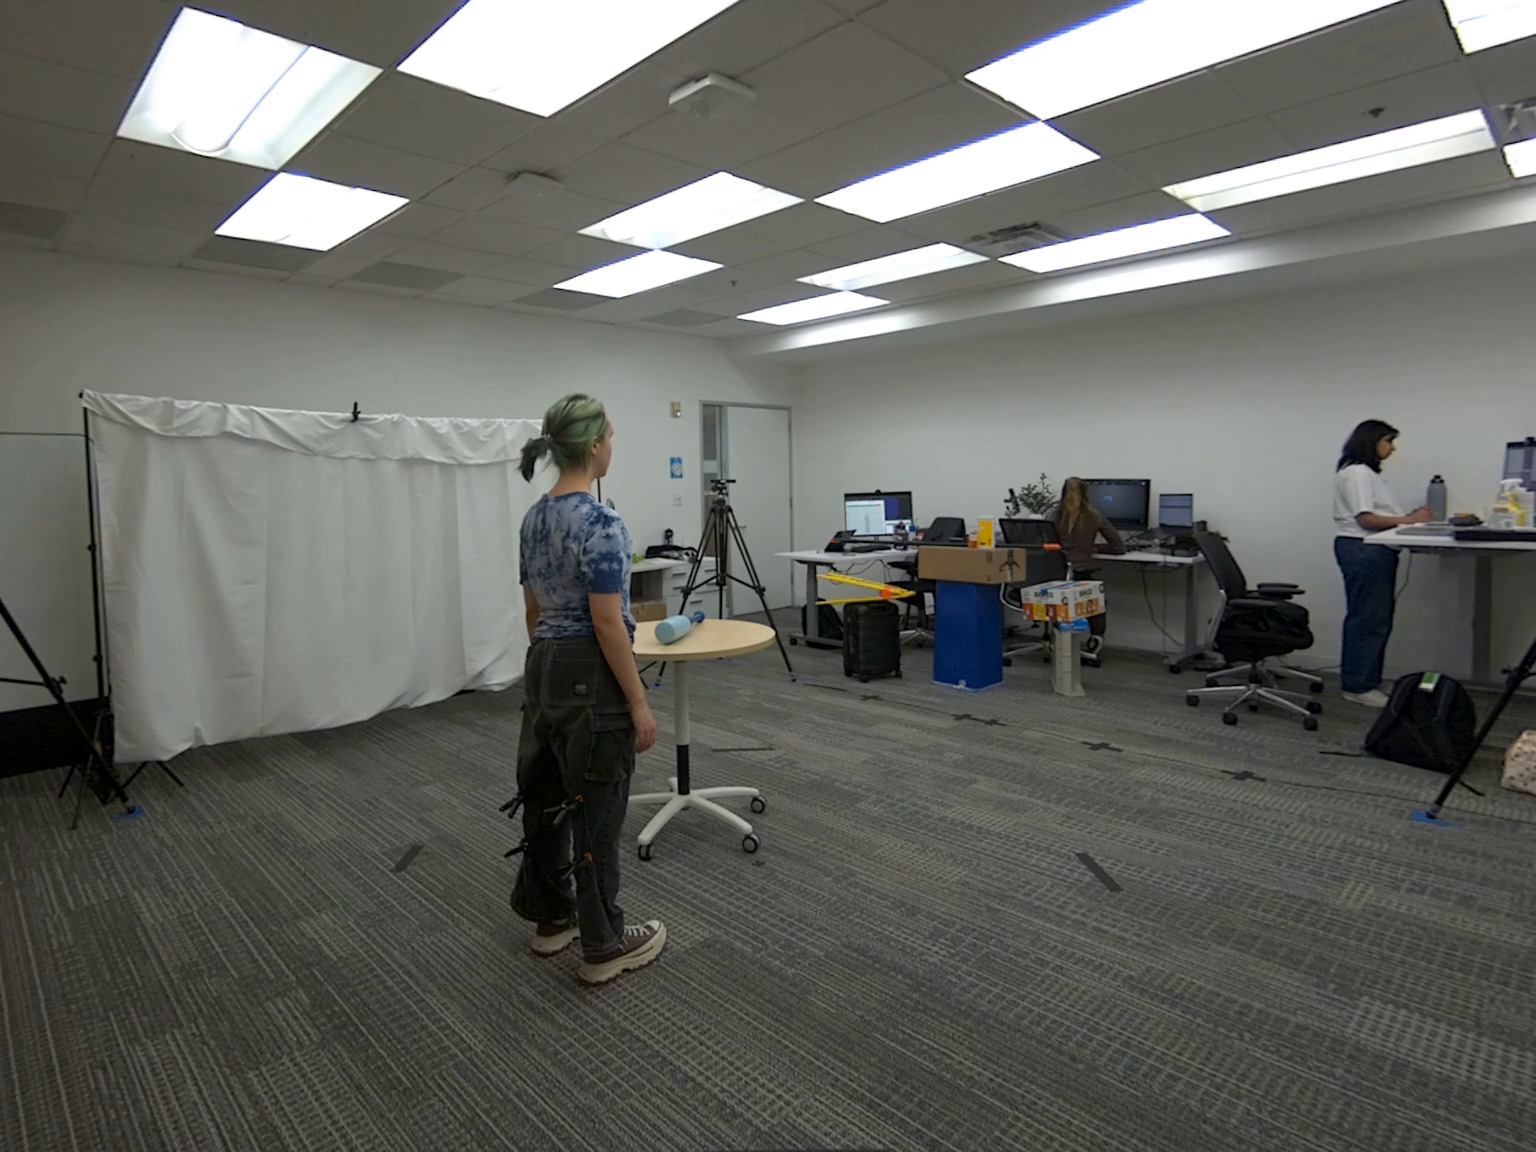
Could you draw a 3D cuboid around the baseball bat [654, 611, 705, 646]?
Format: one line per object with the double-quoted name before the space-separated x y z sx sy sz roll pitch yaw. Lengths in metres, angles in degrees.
"baseball bat" -0.341 0.195 3.441 0.090 0.089 0.539 0 3 7
